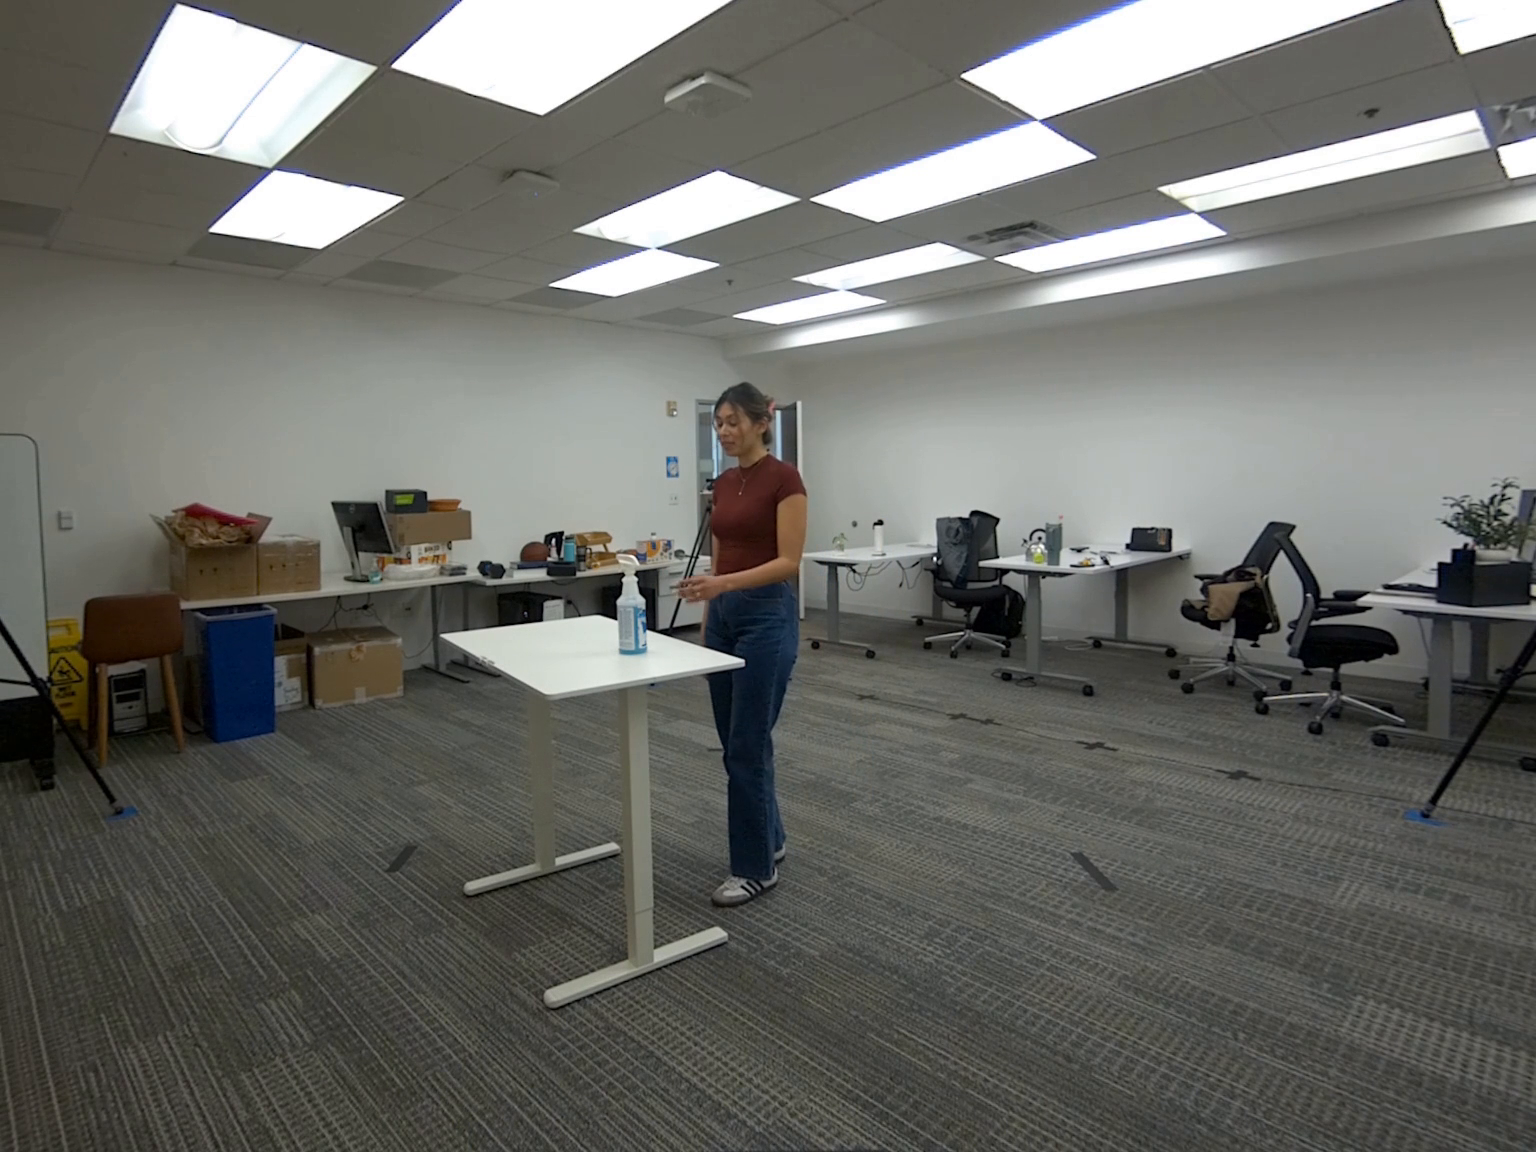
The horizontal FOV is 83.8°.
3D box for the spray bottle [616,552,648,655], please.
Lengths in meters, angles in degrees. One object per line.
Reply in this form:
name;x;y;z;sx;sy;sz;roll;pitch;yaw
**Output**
spray bottle;-0.414;0.087;2.585;0.085;0.296;0.092;-3;5;-24
